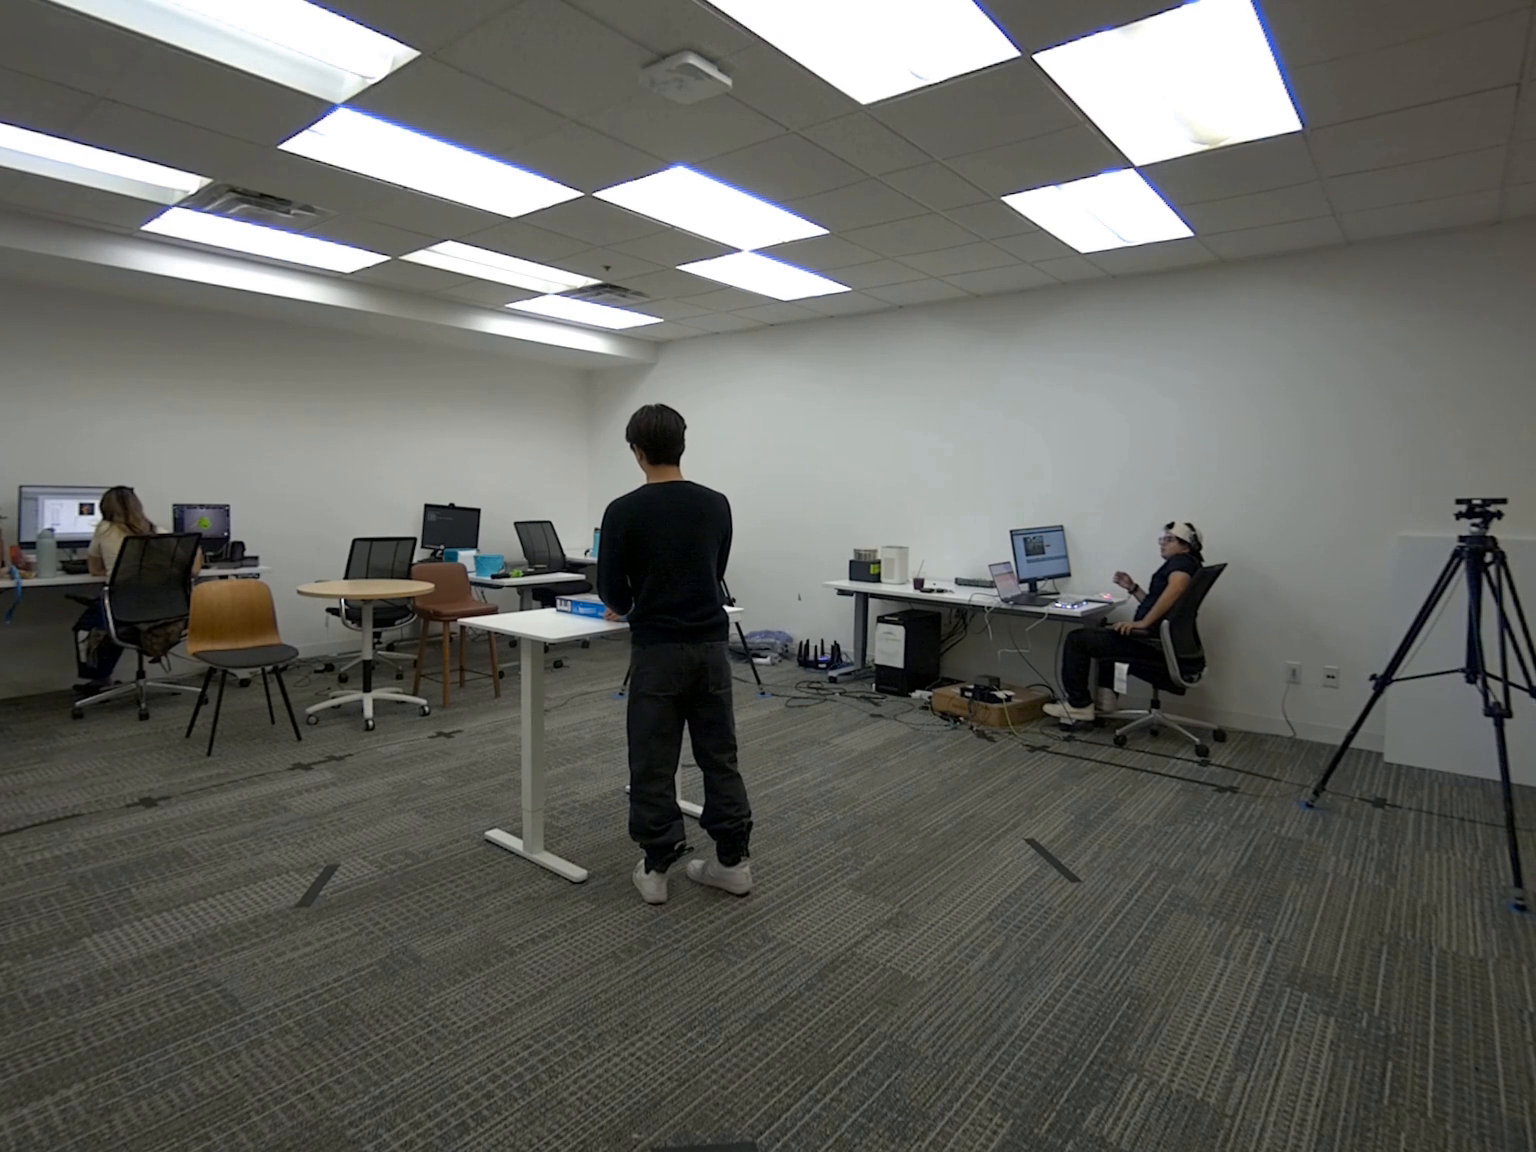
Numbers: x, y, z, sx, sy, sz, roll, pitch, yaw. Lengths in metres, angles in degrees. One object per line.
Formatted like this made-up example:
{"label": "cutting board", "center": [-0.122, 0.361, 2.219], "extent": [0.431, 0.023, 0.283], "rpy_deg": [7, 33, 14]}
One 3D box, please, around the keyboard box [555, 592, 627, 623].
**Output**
{"label": "keyboard box", "center": [-0.660, 0.121, 3.391], "extent": [0.452, 0.059, 0.171], "rpy_deg": [6, 8, 43]}
